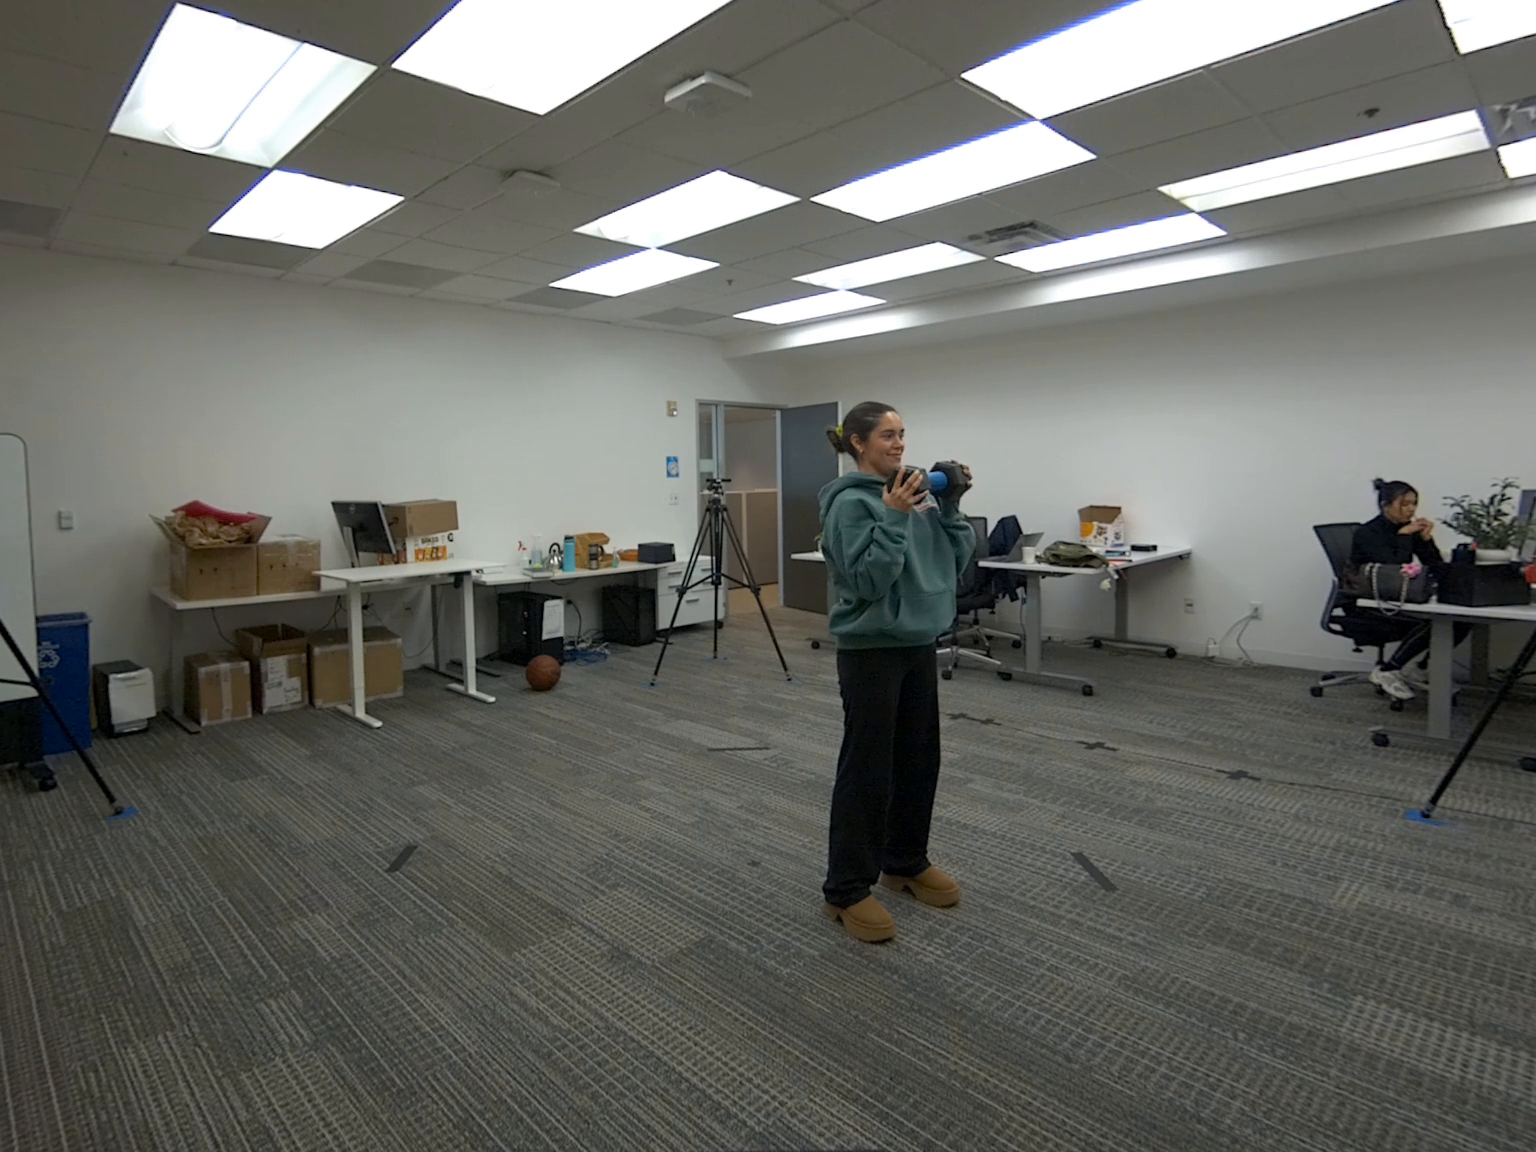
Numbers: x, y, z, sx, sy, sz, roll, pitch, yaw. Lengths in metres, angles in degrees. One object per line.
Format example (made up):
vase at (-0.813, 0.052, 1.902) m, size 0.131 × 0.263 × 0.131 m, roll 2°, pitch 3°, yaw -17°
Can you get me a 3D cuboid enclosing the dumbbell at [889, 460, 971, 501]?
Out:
dumbbell at (0.477, -0.277, 2.577) m, size 0.287 × 0.122 × 0.112 m, roll -12°, pitch 53°, yaw -45°
